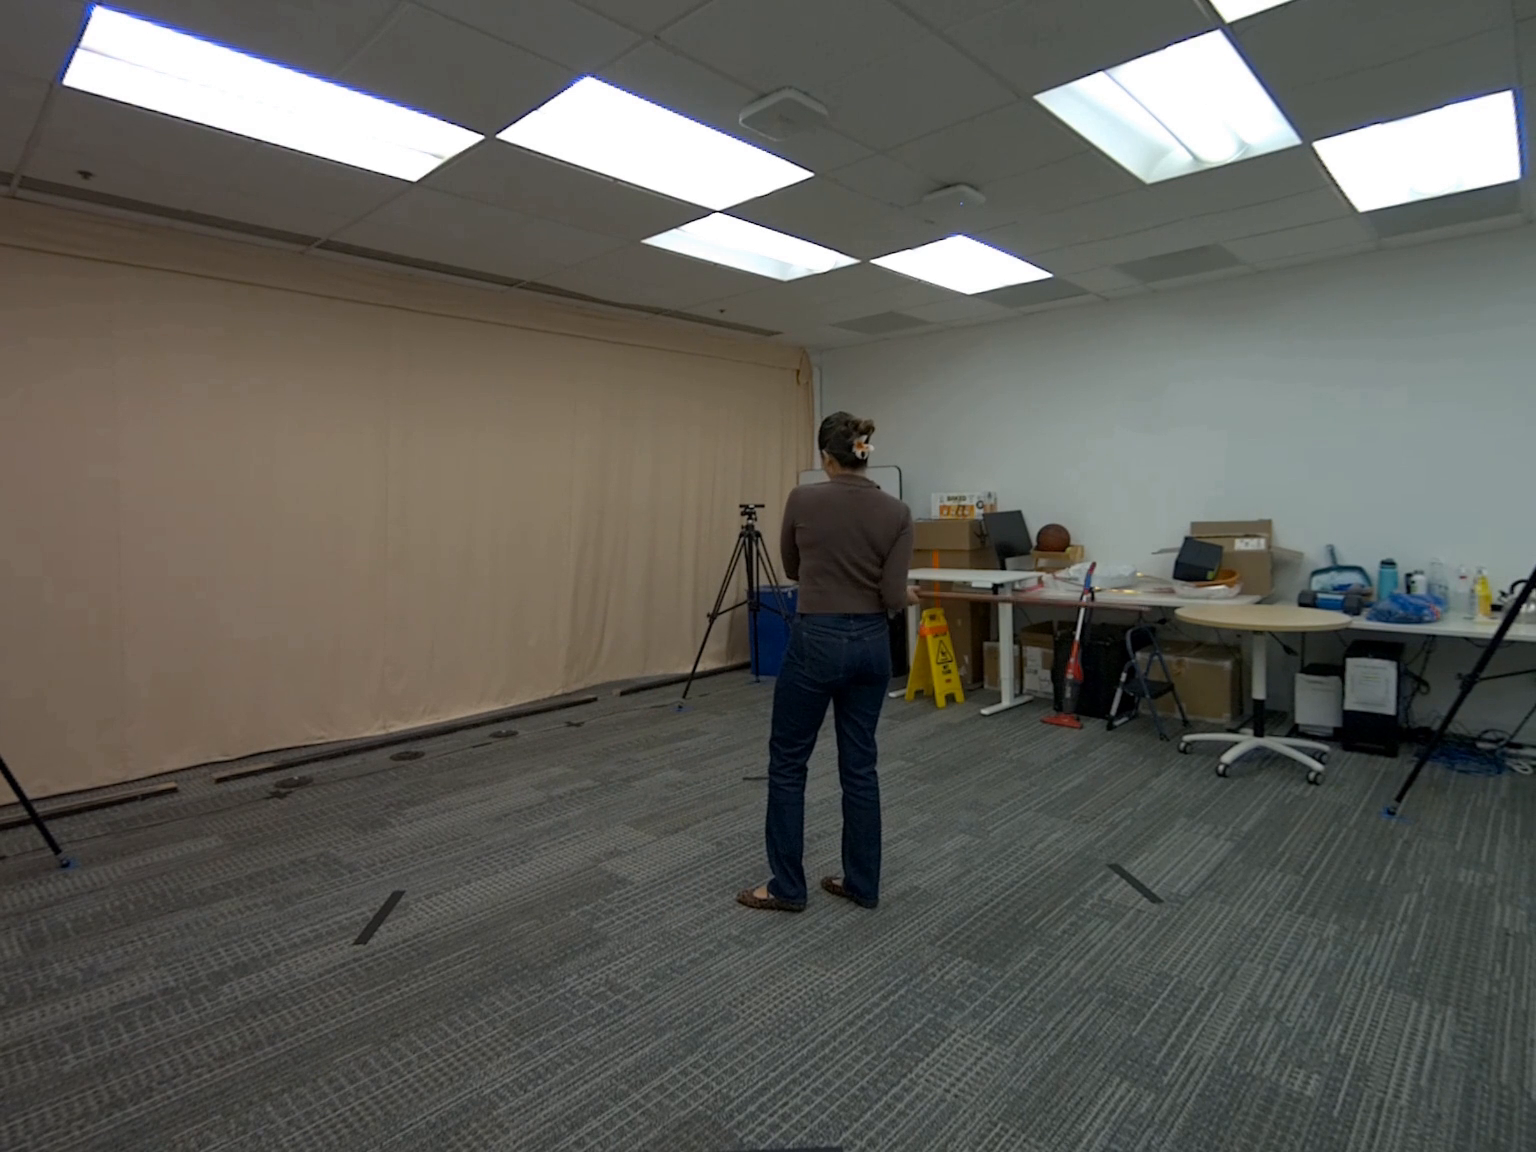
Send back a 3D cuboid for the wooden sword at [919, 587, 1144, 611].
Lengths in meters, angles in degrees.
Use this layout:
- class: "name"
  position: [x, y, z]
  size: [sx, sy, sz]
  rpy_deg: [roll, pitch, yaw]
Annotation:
- class: "wooden sword"
  position: [0.802, 0.088, 3.034]
  size: [1.047, 0.024, 0.050]
  rpy_deg: [3, -22, 21]
